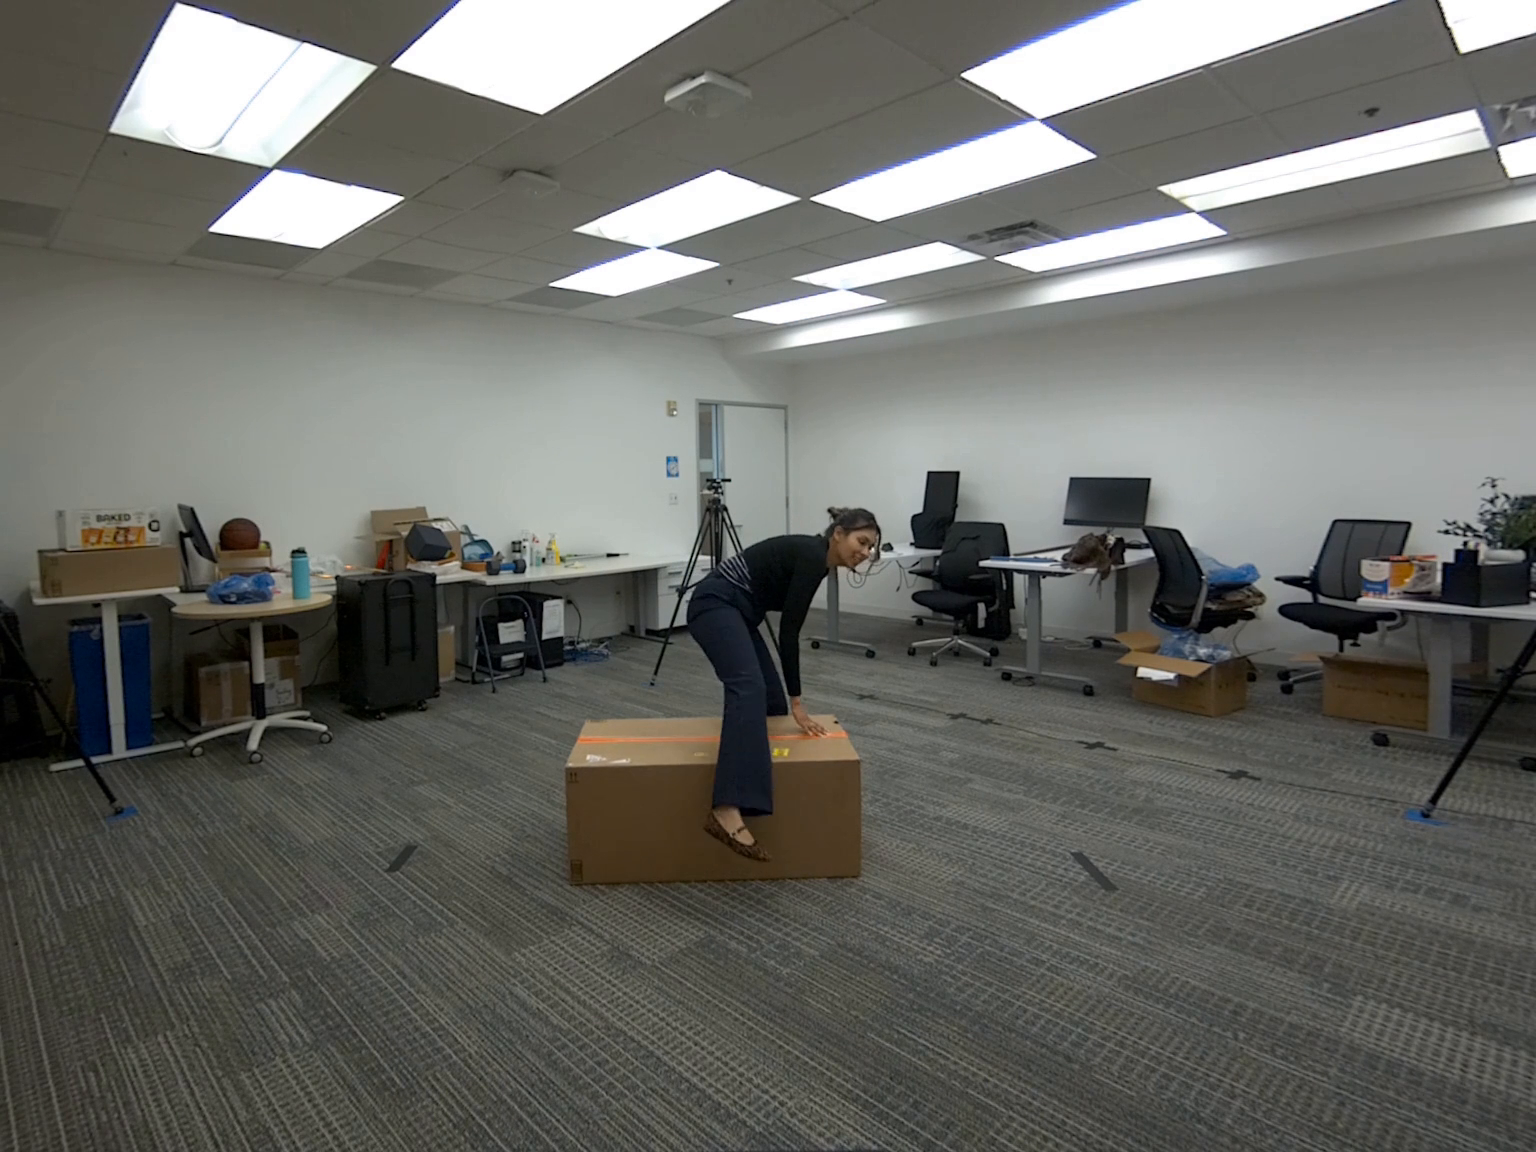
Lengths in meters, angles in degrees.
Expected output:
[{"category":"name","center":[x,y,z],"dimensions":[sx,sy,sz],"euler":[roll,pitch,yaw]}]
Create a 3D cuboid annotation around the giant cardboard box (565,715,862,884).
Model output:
[{"category":"giant cardboard box","center":[-0.209,0.816,3.242],"dimensions":[1.024,0.424,0.581],"euler":[-1,6,-2]}]
